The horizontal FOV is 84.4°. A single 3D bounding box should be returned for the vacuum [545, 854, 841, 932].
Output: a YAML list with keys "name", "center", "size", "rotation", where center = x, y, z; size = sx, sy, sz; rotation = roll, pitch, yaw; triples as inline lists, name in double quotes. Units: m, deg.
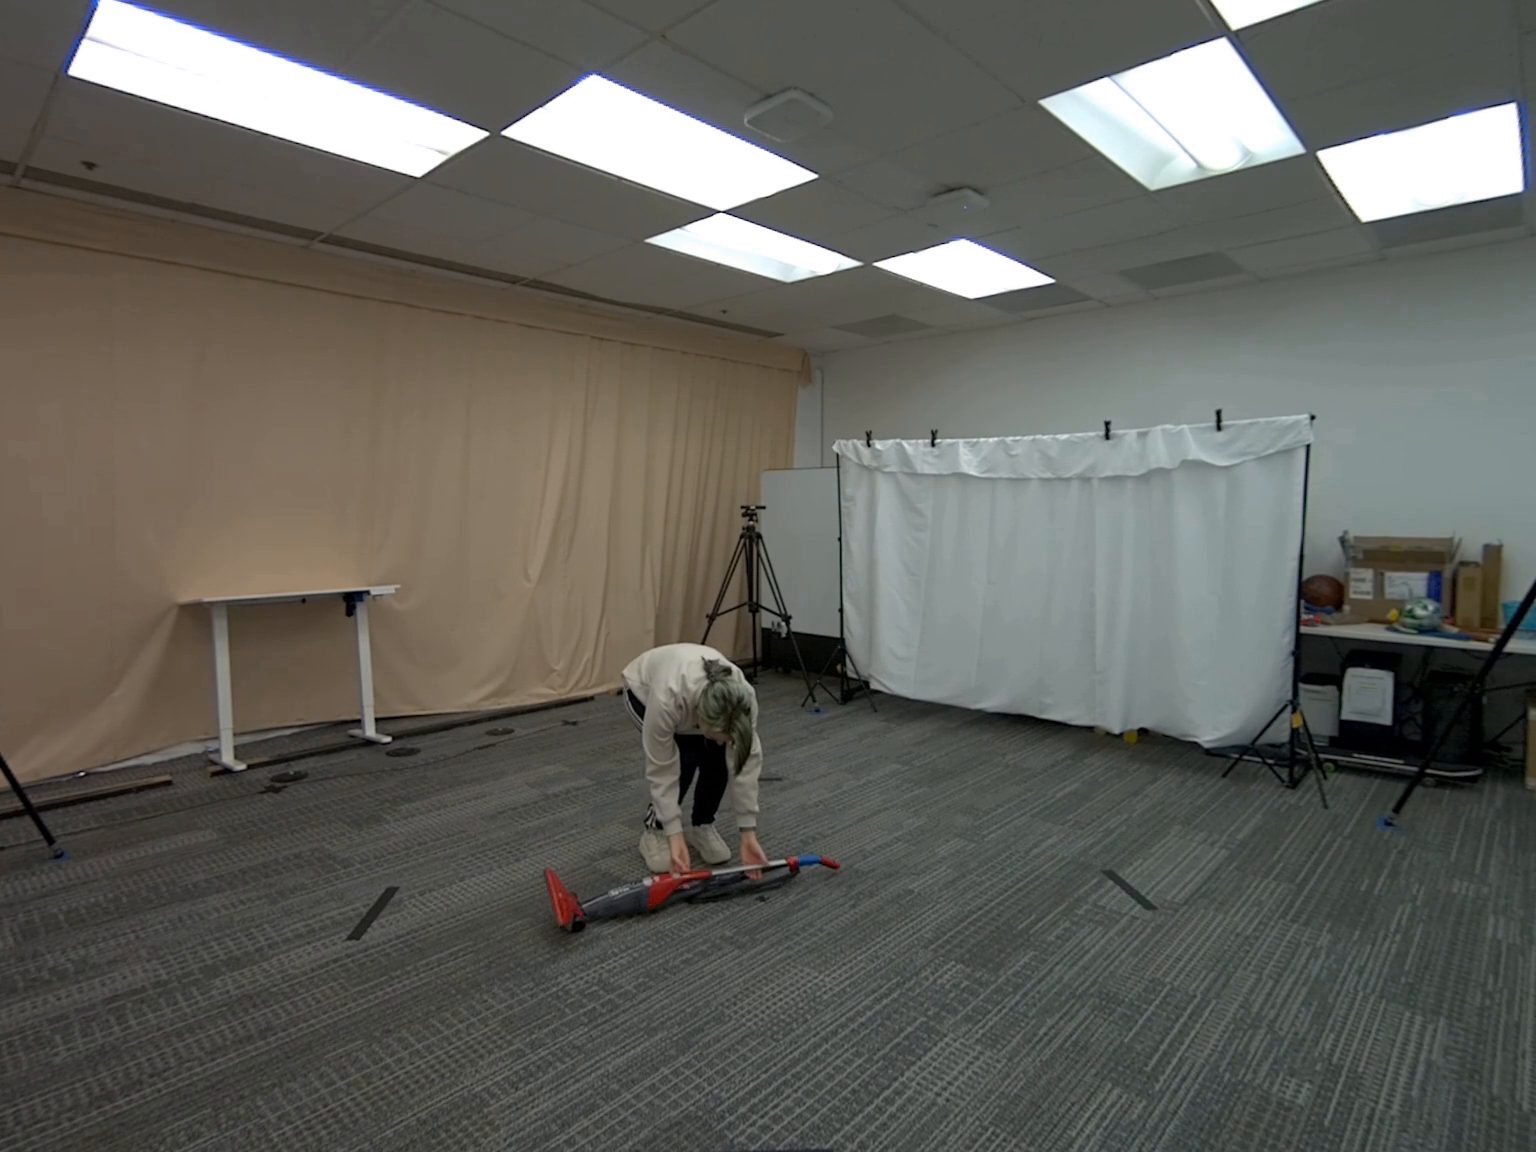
- name: "vacuum"
  center: [-0.212, 1.072, 2.975]
  size: [1.024, 0.143, 0.261]
  rotation: [0, 23, -24]
